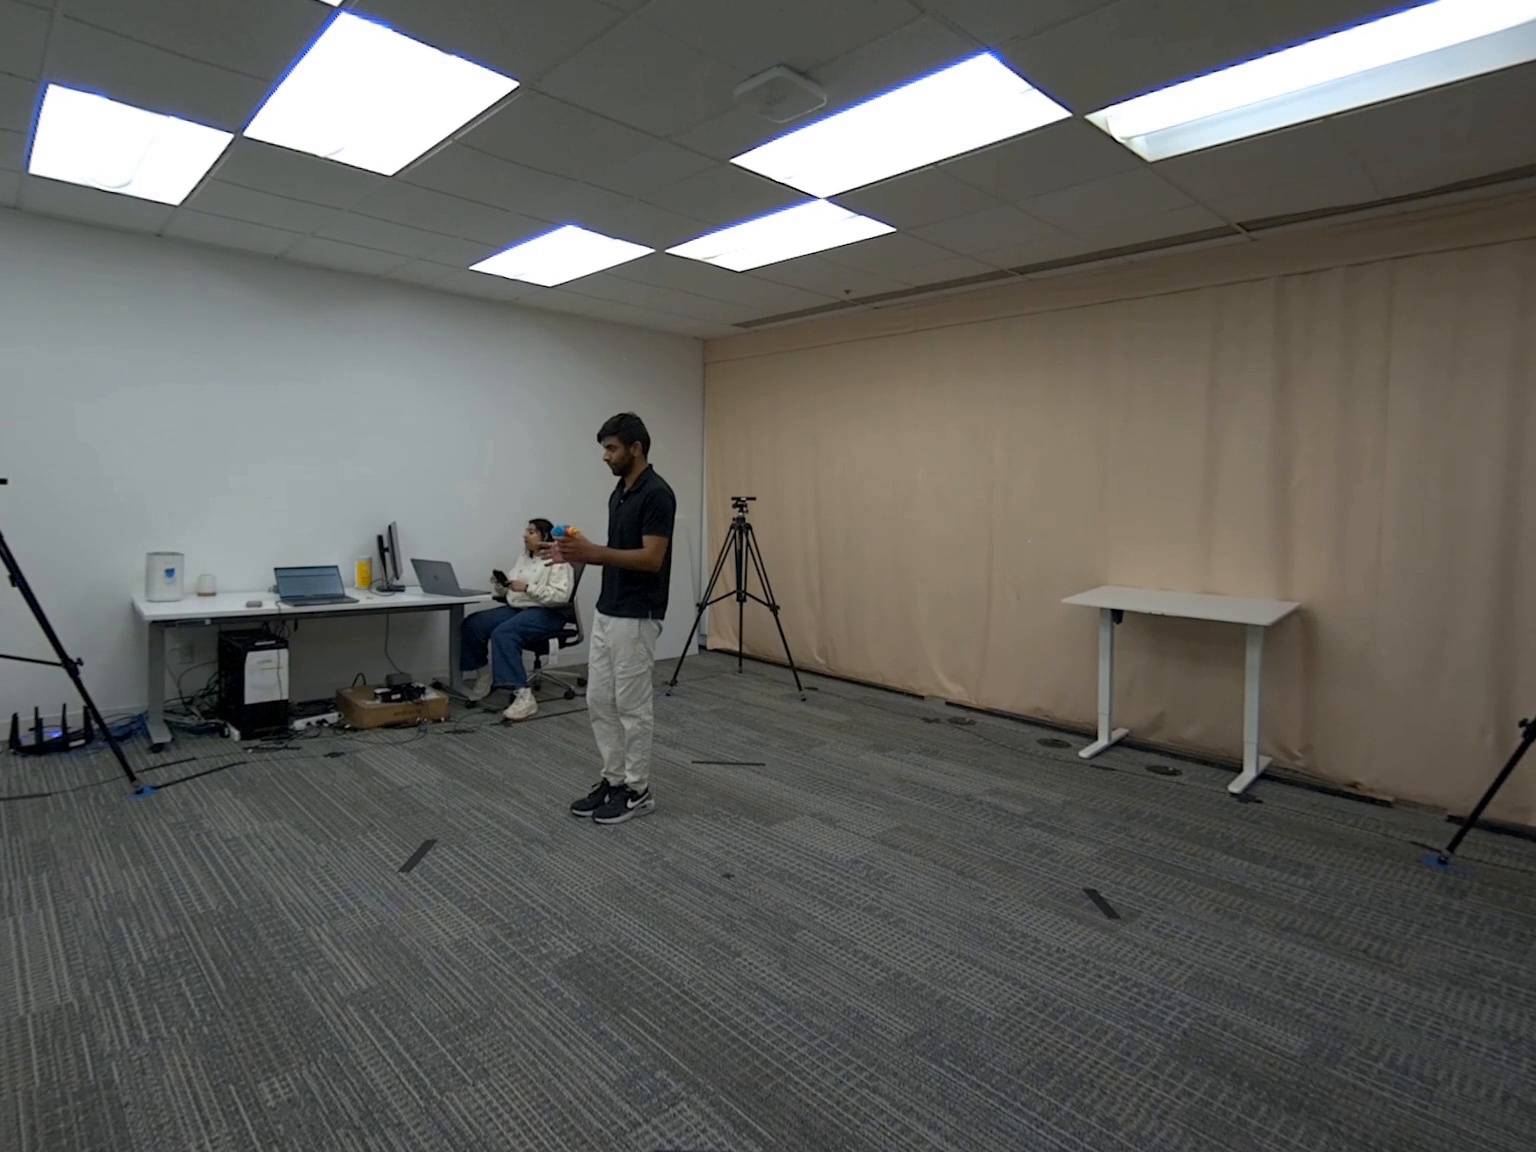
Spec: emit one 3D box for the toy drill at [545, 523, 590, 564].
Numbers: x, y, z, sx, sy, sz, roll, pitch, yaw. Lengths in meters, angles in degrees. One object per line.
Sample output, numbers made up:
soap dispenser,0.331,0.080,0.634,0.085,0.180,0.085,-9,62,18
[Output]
toy drill,-0.798,-0.133,3.415,0.174,0.143,0.061,0,27,37
